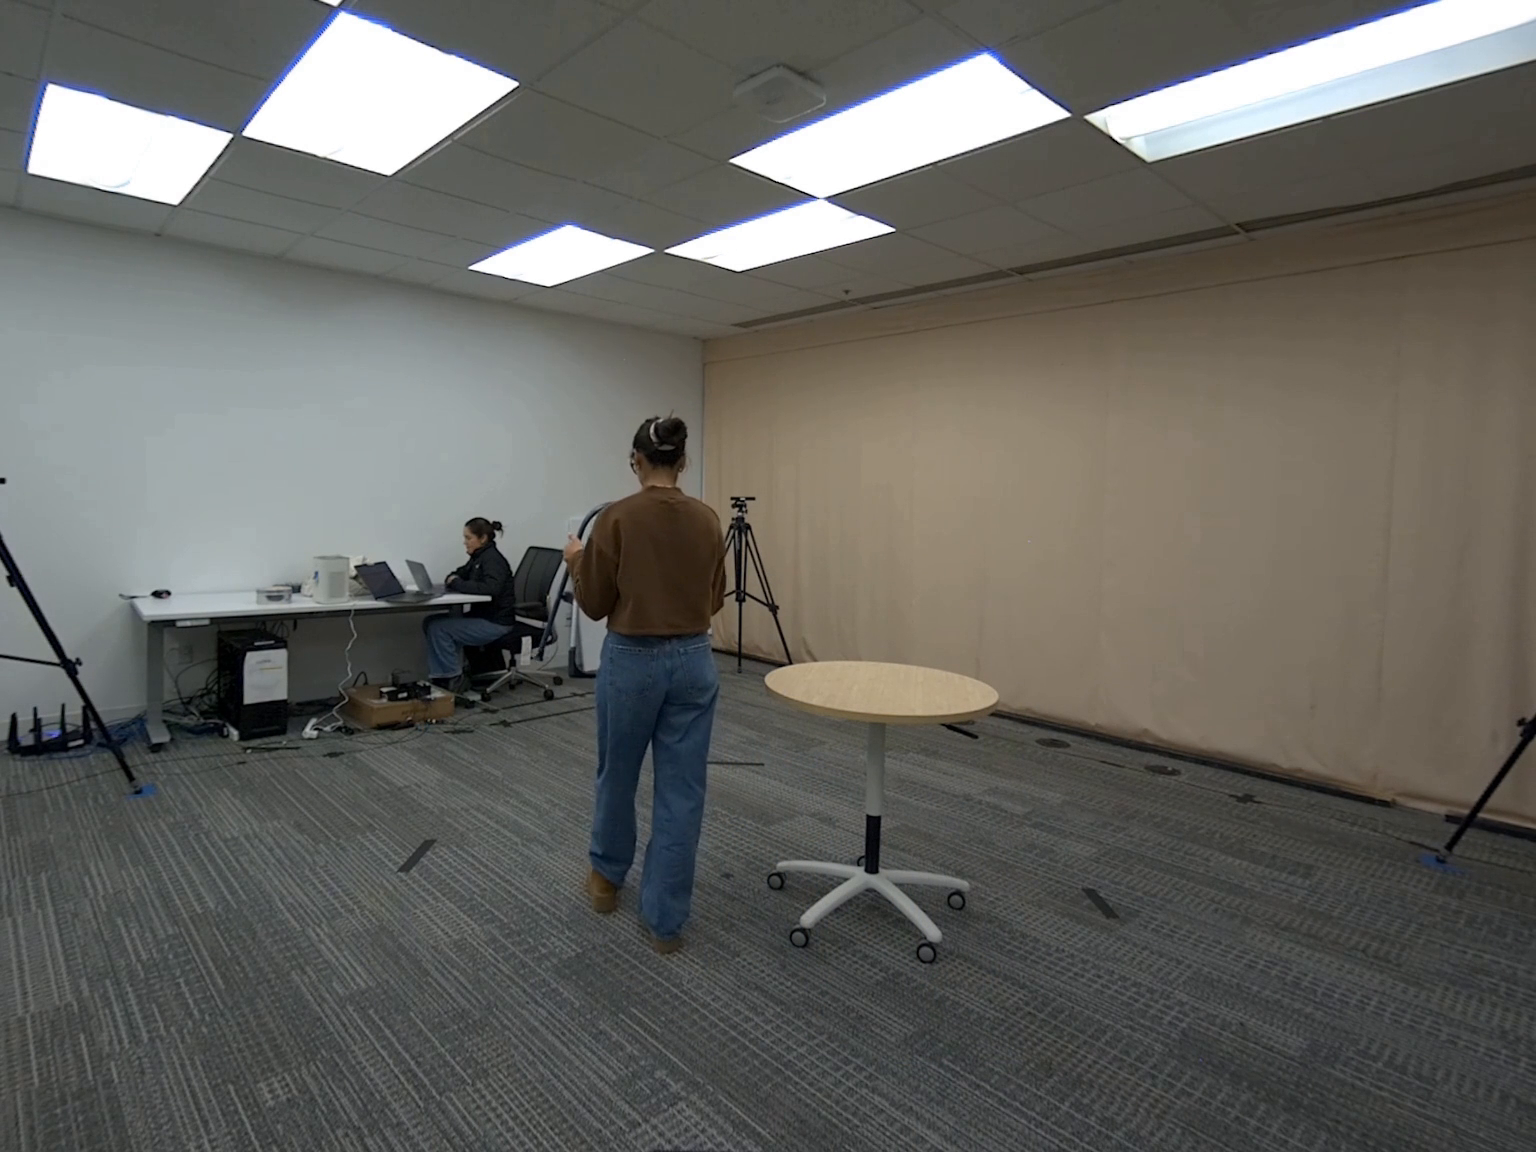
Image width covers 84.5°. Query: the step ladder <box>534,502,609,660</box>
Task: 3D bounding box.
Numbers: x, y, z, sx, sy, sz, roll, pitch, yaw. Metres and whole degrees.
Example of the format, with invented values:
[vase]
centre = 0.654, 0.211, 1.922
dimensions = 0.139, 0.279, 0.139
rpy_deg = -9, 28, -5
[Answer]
[step ladder]
centre = -0.529, 0.043, 2.970
dimensions = 0.420, 0.606, 0.358
rpy_deg = 9, -1, -35
